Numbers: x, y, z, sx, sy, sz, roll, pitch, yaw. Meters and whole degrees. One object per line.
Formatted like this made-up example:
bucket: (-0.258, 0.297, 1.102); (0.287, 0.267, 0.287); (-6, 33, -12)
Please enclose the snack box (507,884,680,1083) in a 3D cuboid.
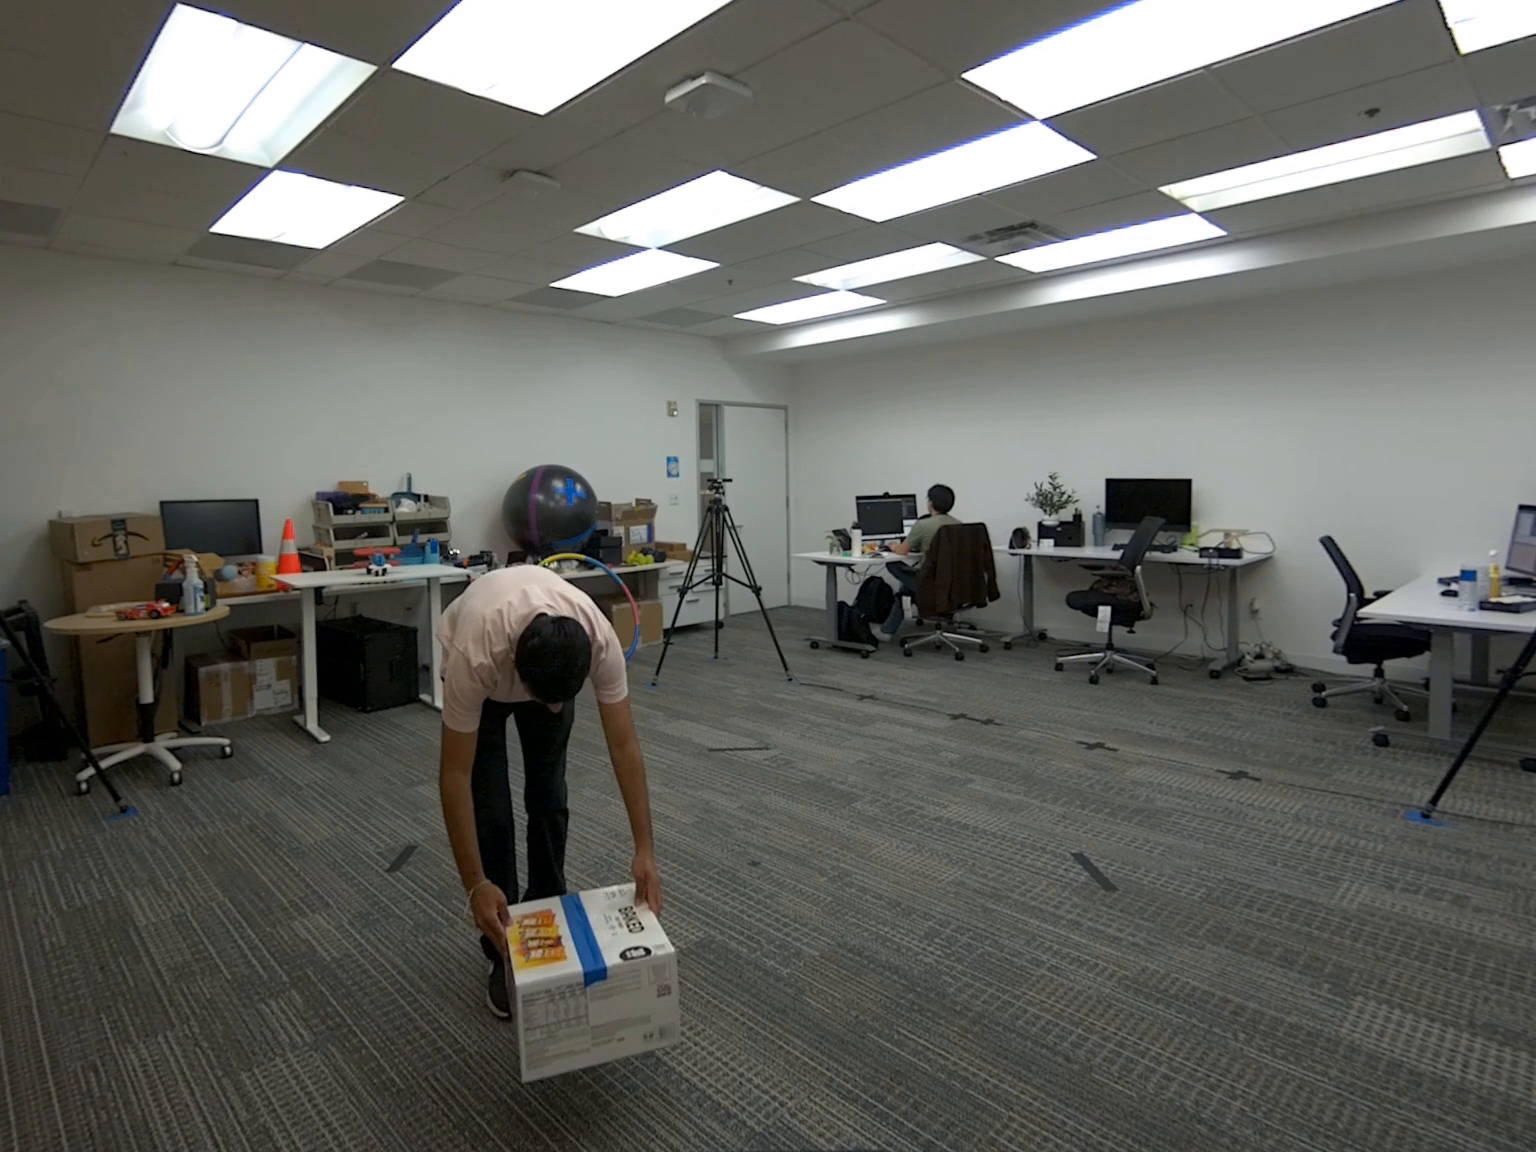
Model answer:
snack box: (-0.413, 0.908, 1.971); (0.335, 0.205, 0.413); (-4, 3, -20)
